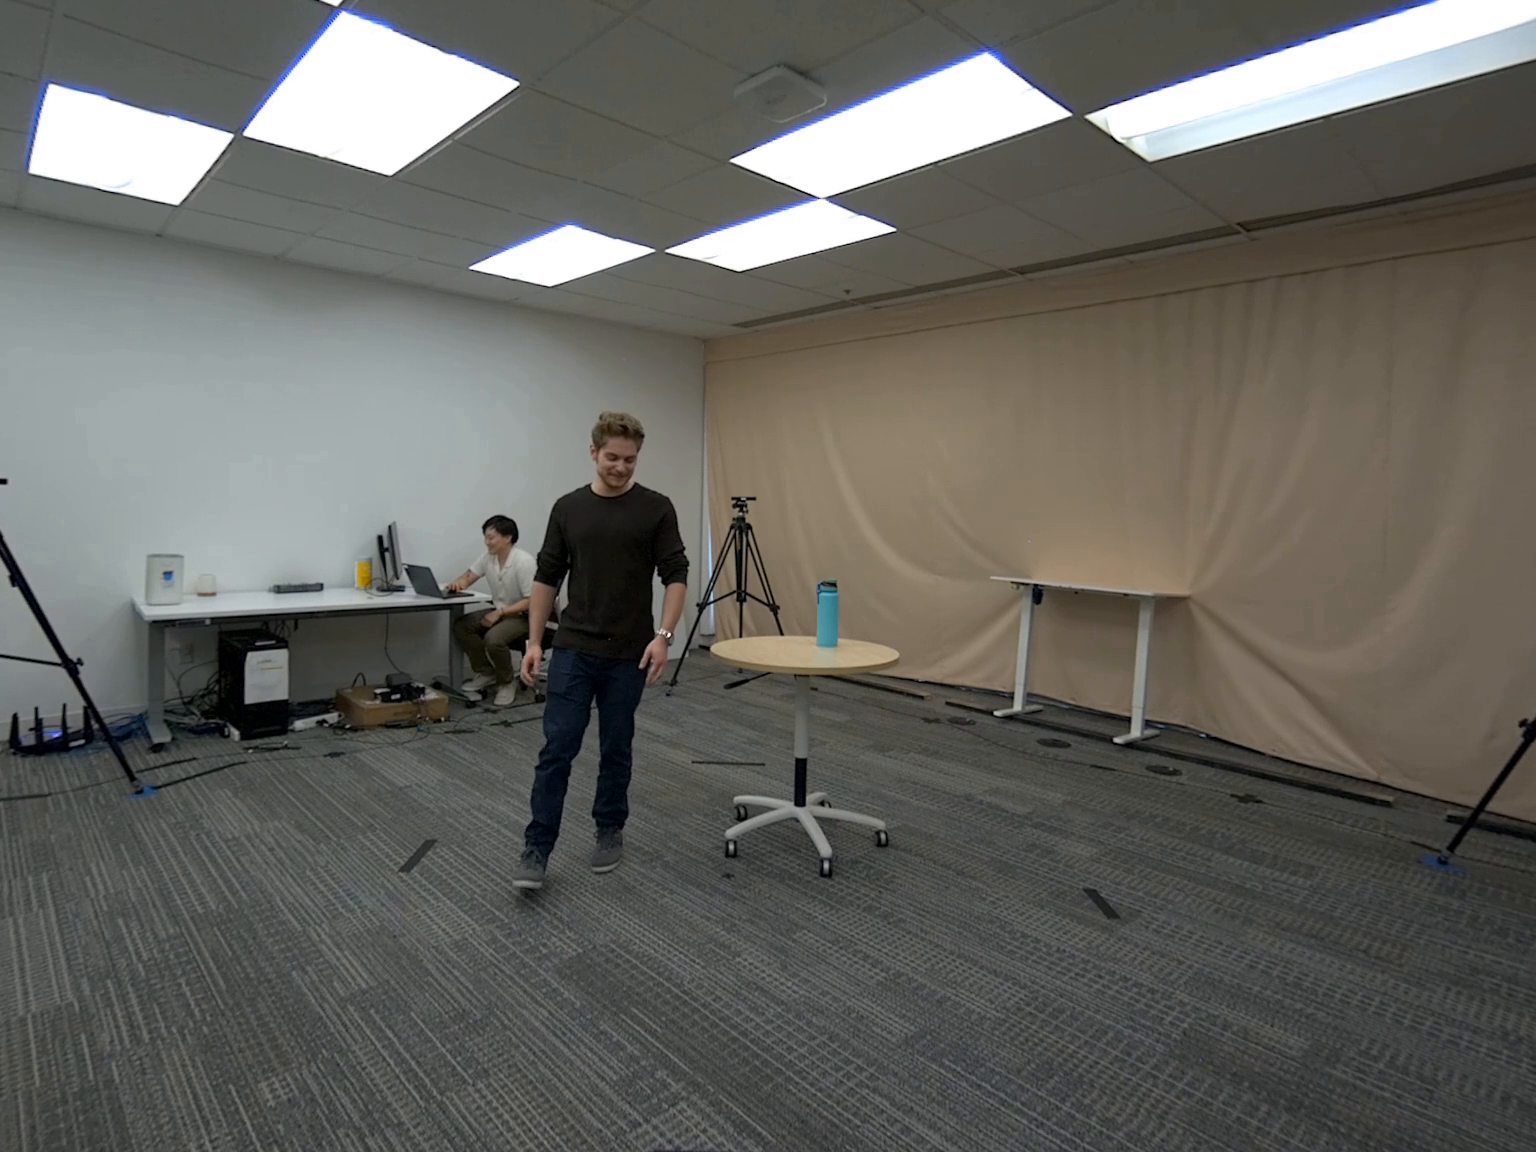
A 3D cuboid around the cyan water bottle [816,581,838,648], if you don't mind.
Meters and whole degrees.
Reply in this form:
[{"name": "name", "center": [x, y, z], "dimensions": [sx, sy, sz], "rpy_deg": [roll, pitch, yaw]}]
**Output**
[{"name": "cyan water bottle", "center": [0.250, 0.153, 3.555], "dimensions": [0.092, 0.282, 0.092], "rpy_deg": [1, 4, -1]}]
